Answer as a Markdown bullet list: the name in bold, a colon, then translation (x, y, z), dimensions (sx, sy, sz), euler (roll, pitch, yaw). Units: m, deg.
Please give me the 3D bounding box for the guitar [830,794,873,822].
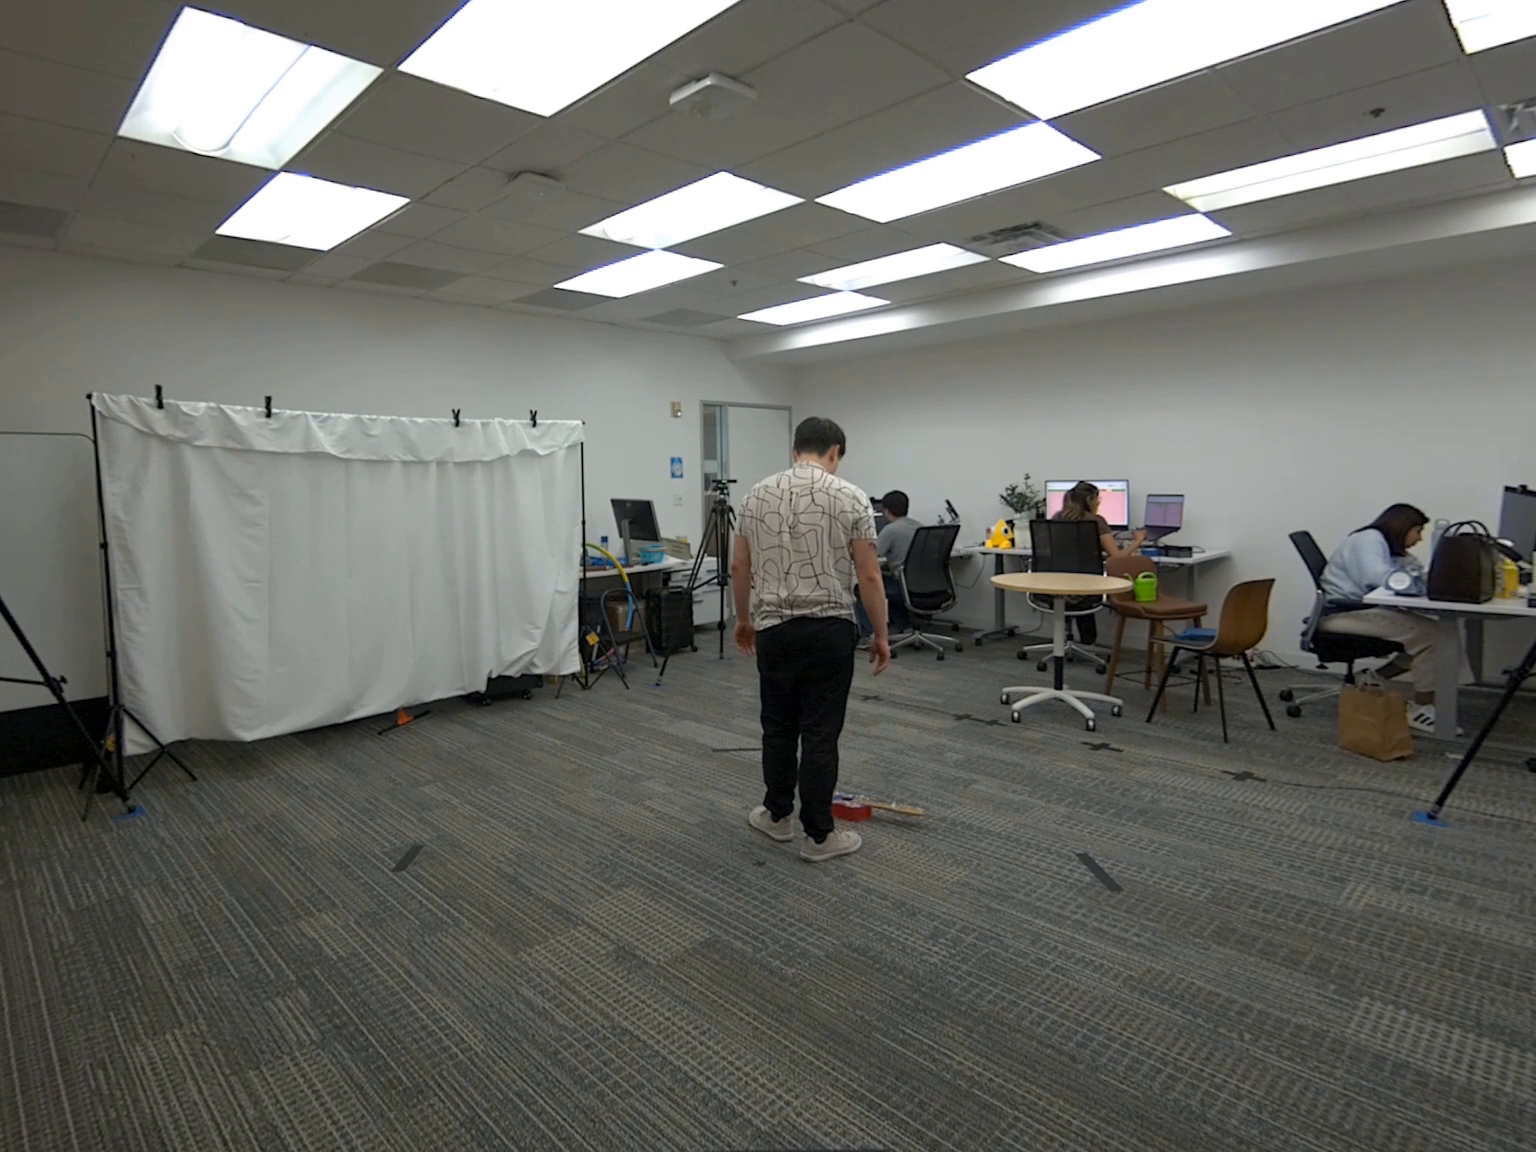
- **guitar**: translation (0.390, 0.961, 3.507), dimensions (0.512, 0.070, 0.188), euler (3, 7, 35)
